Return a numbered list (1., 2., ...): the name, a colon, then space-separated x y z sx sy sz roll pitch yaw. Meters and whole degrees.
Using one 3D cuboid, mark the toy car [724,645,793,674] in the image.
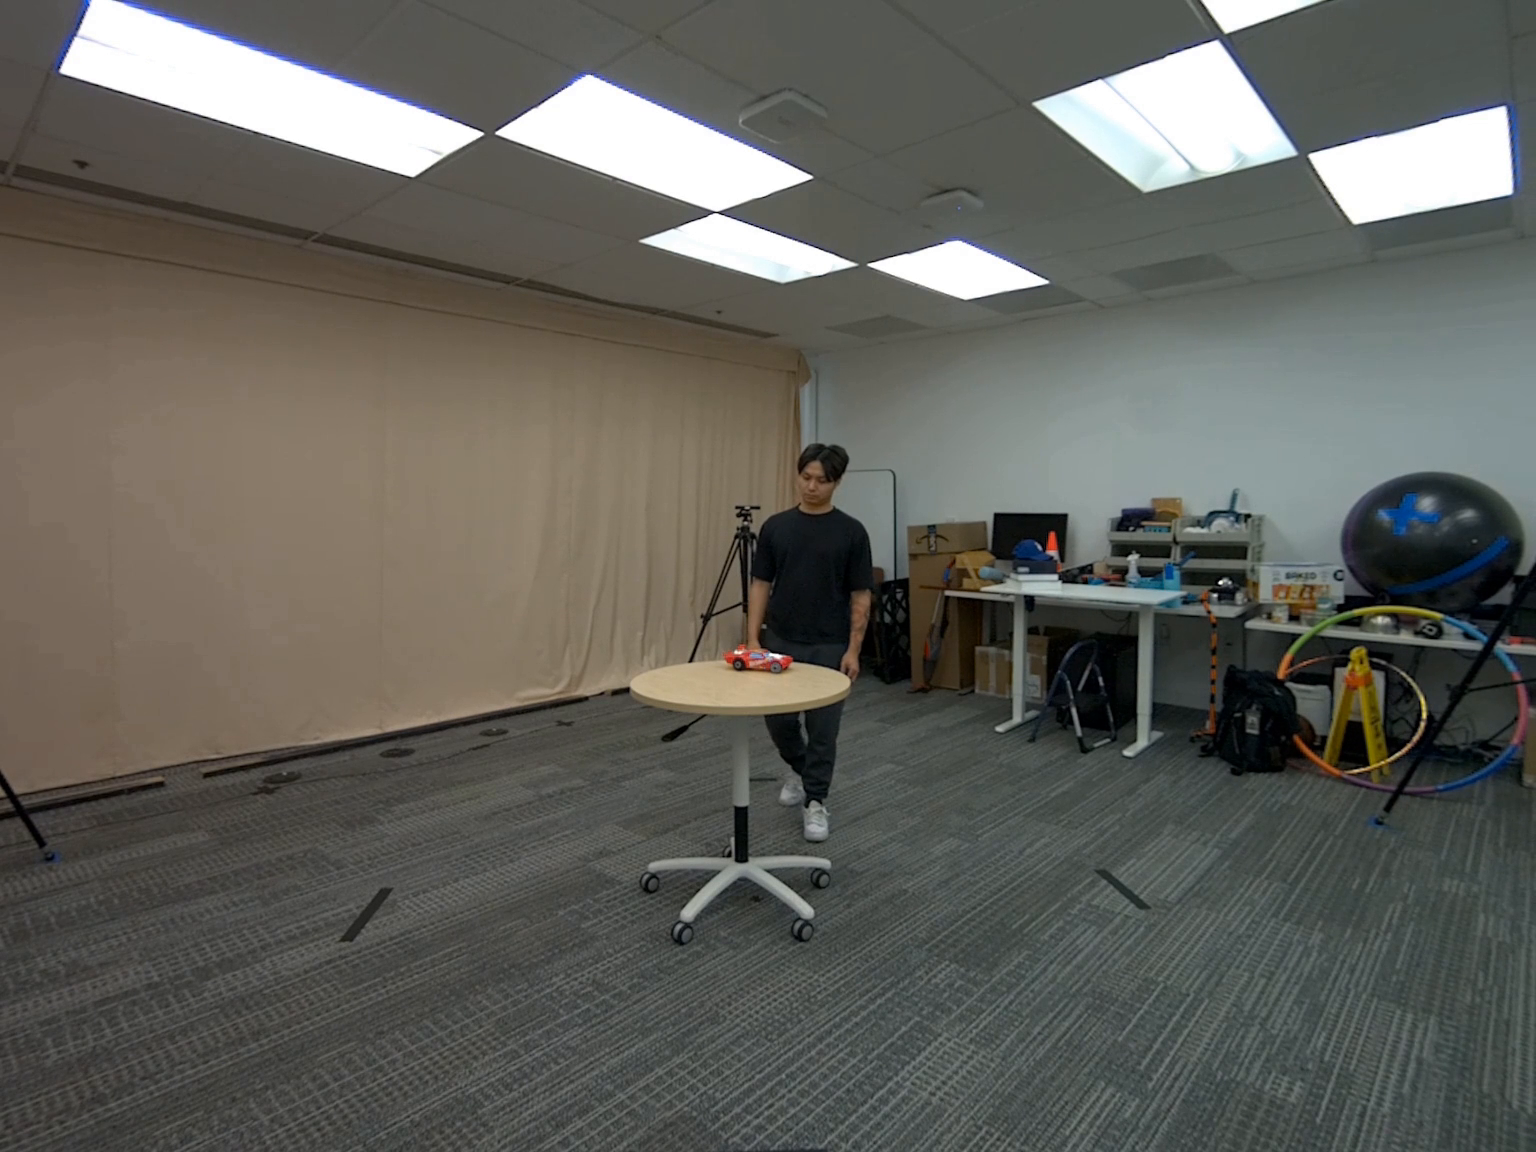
1. toy car: -0.041 0.317 3.129 0.261 0.083 0.127 14 9 22
